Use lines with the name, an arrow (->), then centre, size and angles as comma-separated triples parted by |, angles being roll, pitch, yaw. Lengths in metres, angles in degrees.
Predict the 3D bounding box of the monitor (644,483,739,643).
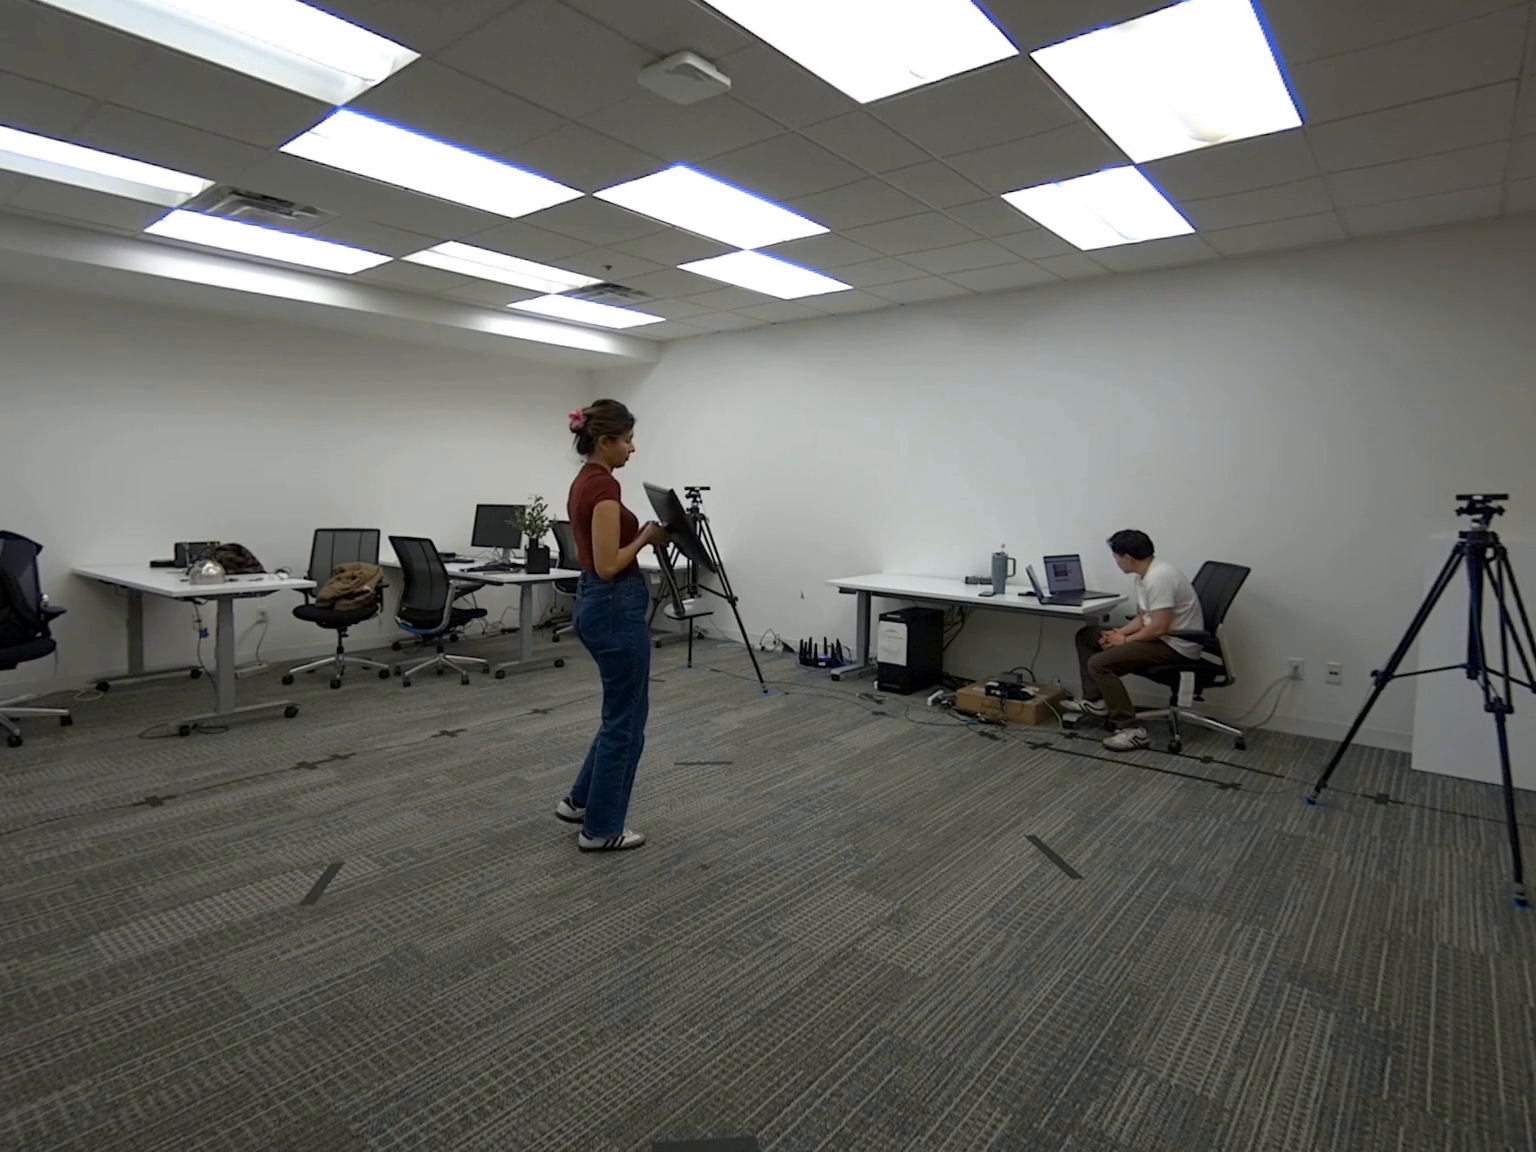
monitor -> -0.377, -0.103, 3.324 | 0.185, 0.516, 0.553 | -16, 13, -16
